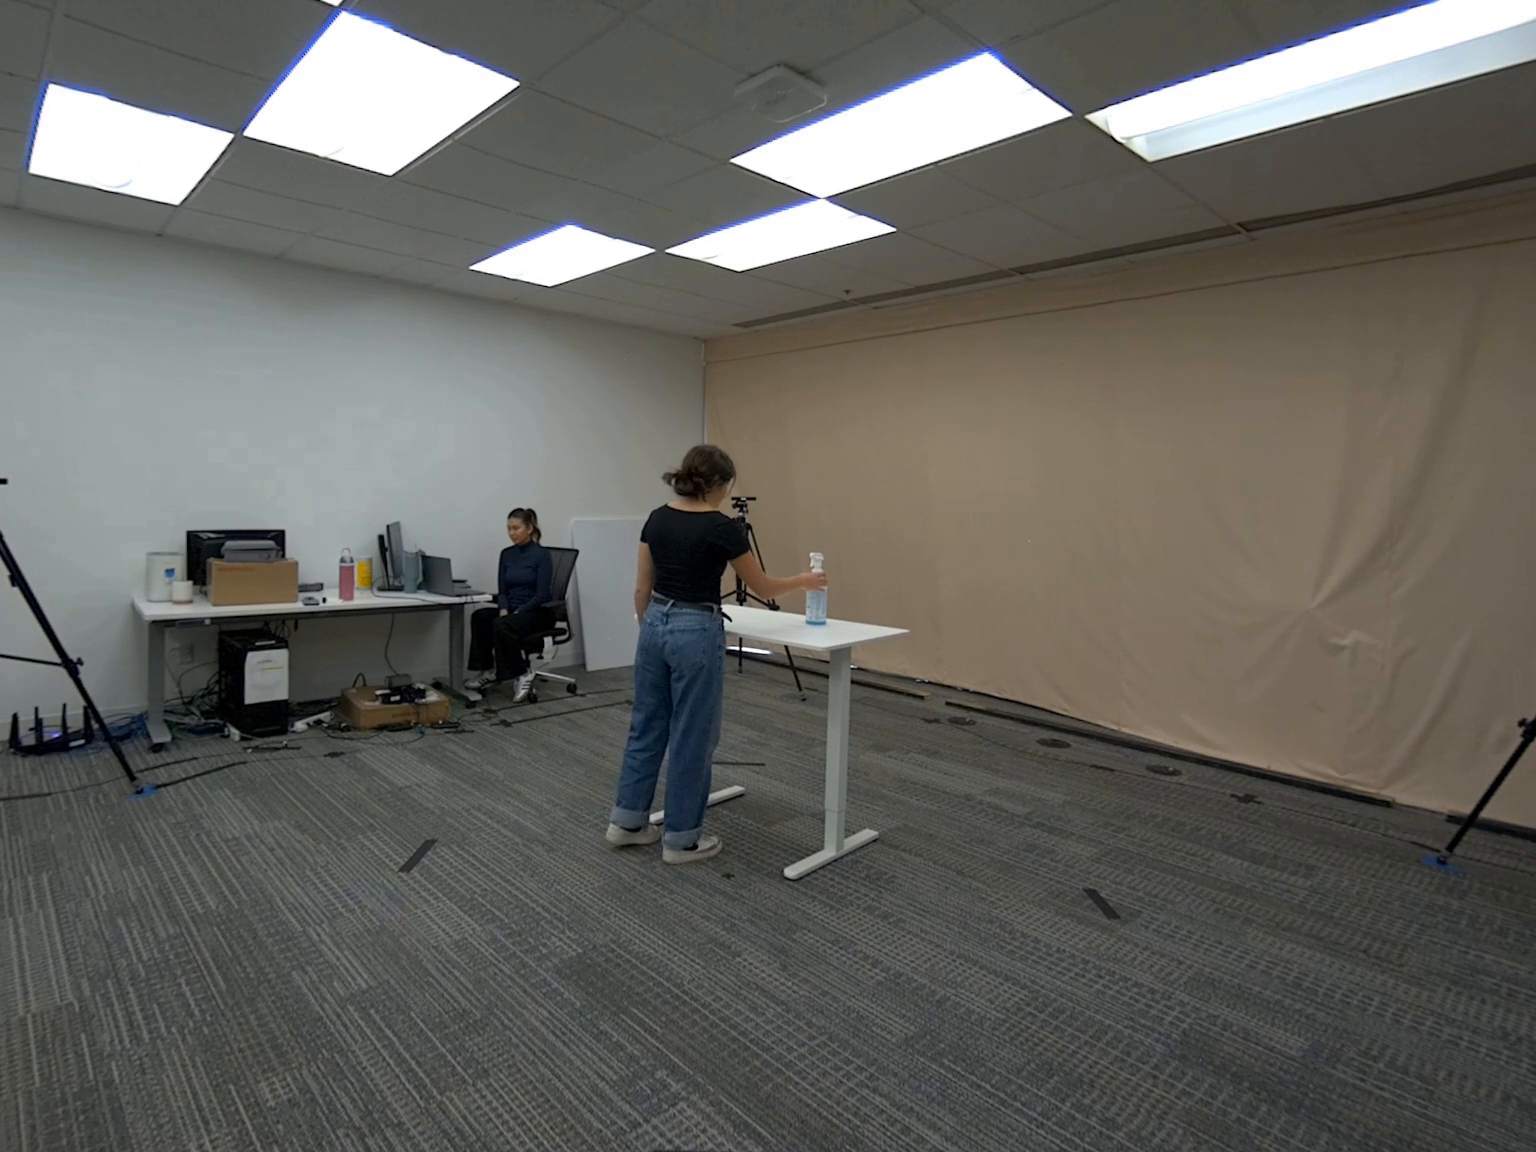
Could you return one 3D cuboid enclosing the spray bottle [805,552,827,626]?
[{"bbox_3d":[0.200,0.053,3.498,0.088,0.297,0.089,-1,3,-26],"label":"spray bottle"}]
